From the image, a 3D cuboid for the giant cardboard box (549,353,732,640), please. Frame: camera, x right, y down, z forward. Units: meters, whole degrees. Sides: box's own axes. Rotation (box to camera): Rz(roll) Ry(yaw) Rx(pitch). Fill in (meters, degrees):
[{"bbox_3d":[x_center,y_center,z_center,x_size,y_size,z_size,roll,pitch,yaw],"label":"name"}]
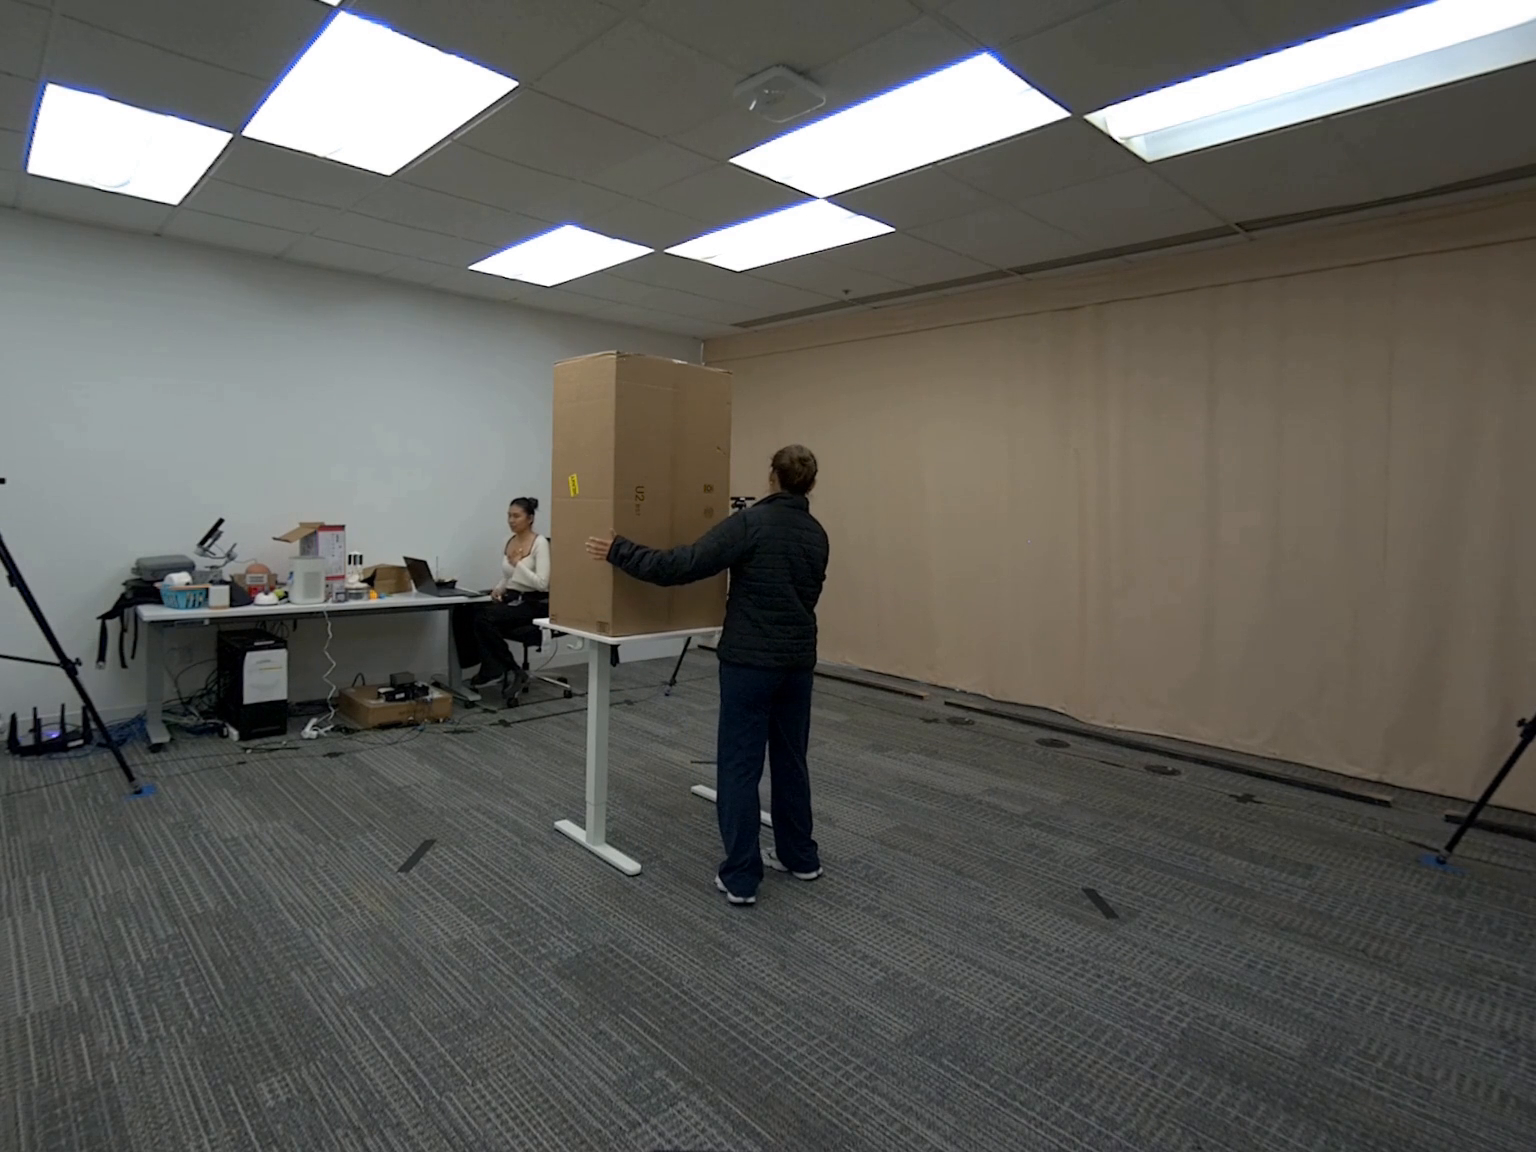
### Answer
[{"bbox_3d":[-0.505,-0.311,3.323,0.437,1.024,0.564,4,4,45],"label":"giant cardboard box"}]
